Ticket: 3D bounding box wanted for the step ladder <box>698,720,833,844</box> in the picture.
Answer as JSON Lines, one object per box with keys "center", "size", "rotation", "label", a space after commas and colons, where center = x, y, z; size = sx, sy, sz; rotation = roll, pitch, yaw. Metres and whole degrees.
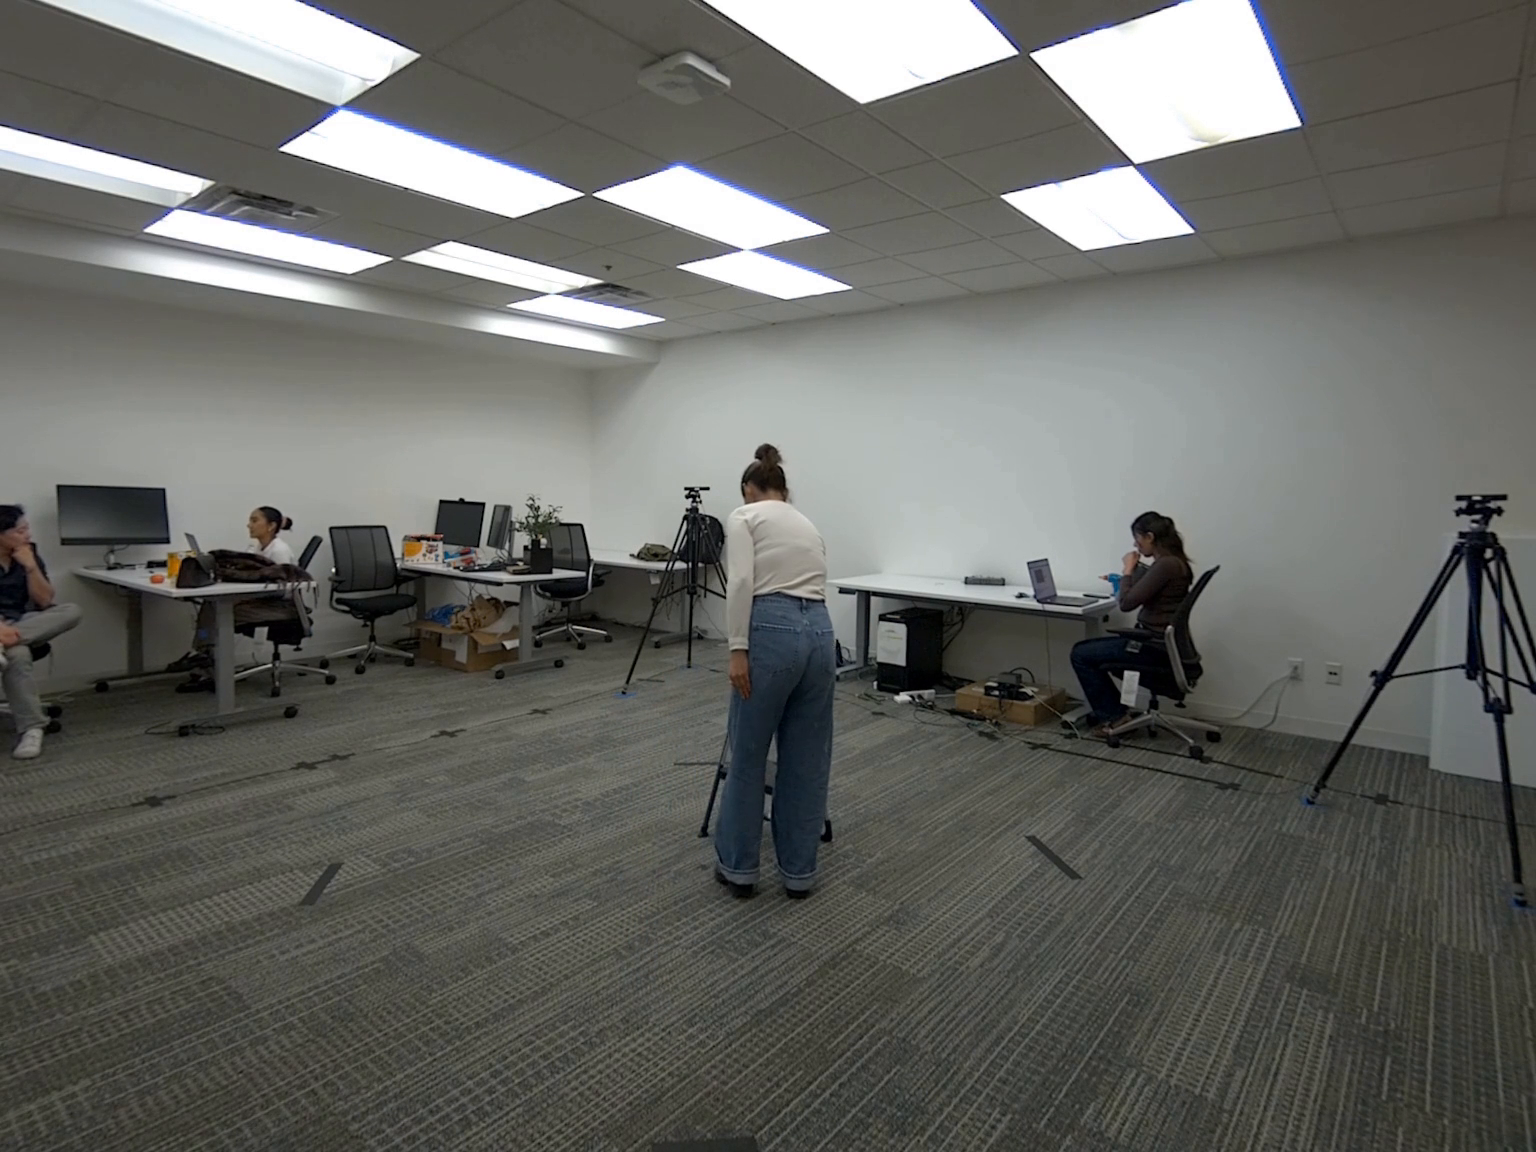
{"center": [-0.006, 0.733, 3.372], "size": [0.445, 0.604, 0.339], "rotation": [4, 4, 40], "label": "step ladder"}
